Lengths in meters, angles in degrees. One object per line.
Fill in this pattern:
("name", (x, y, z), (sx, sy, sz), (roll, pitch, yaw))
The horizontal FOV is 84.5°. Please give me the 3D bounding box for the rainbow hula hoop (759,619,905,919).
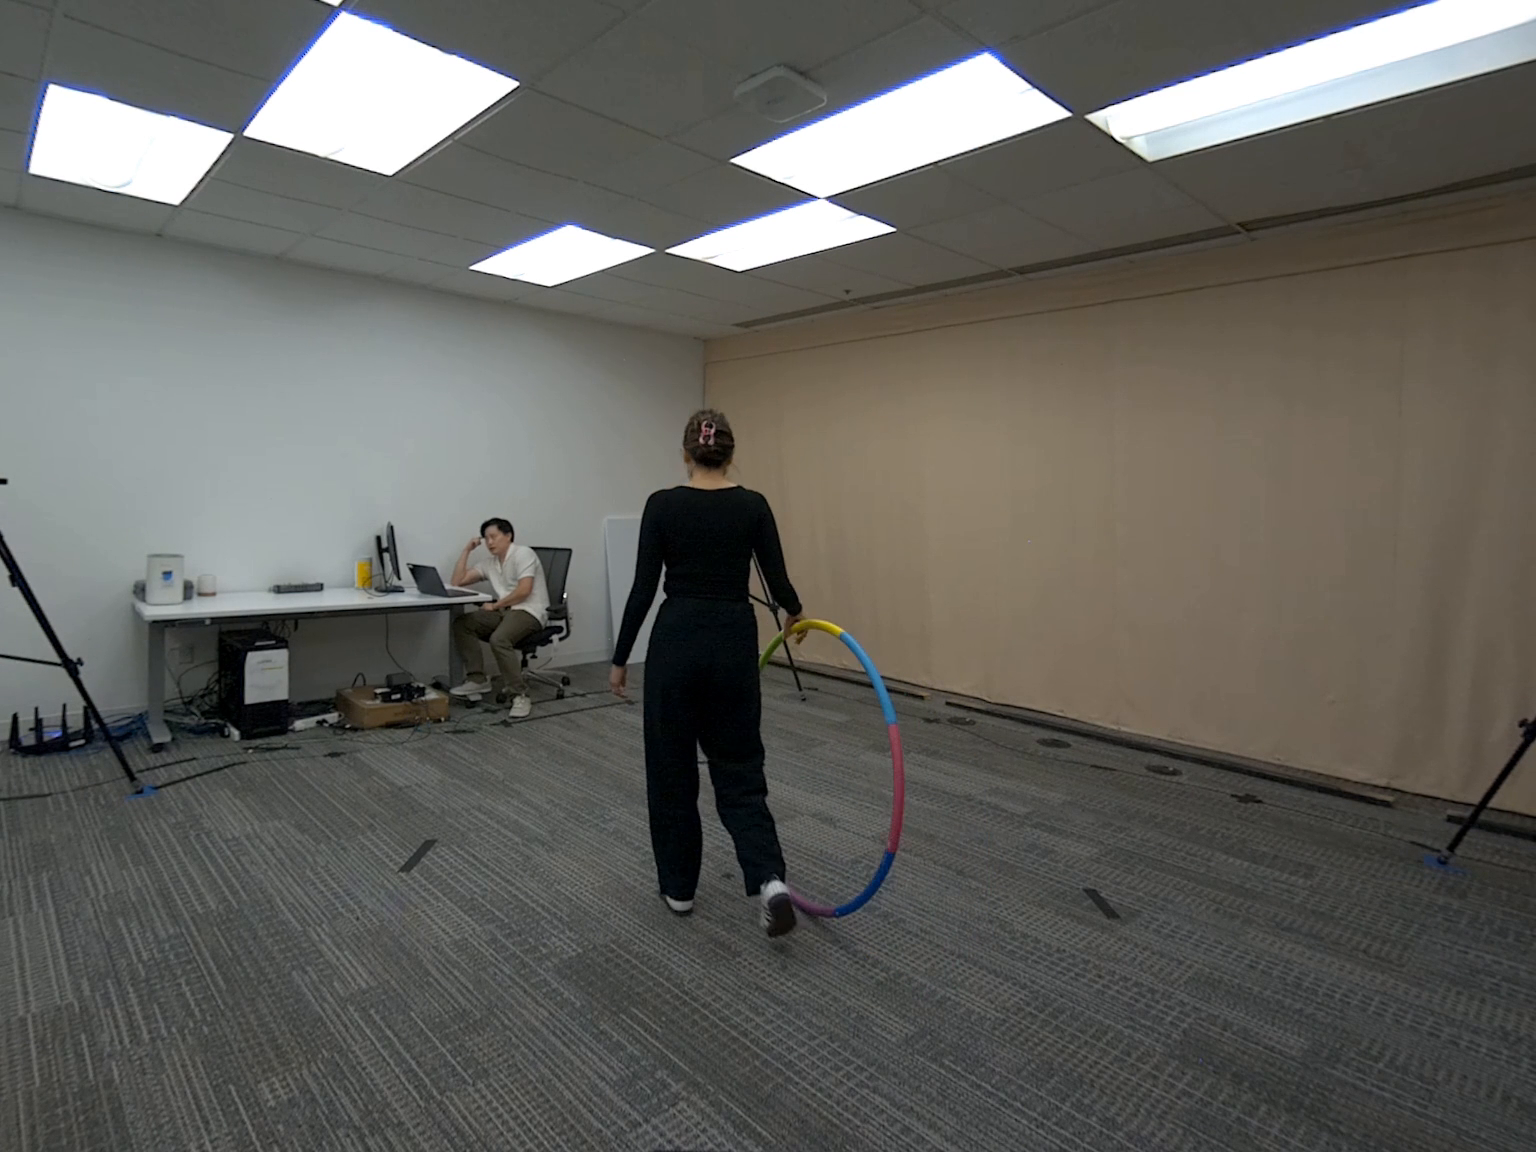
("rainbow hula hoop", (0.137, 0.648, 2.886), (0.035, 0.978, 1.000), (5, 2, -29))
